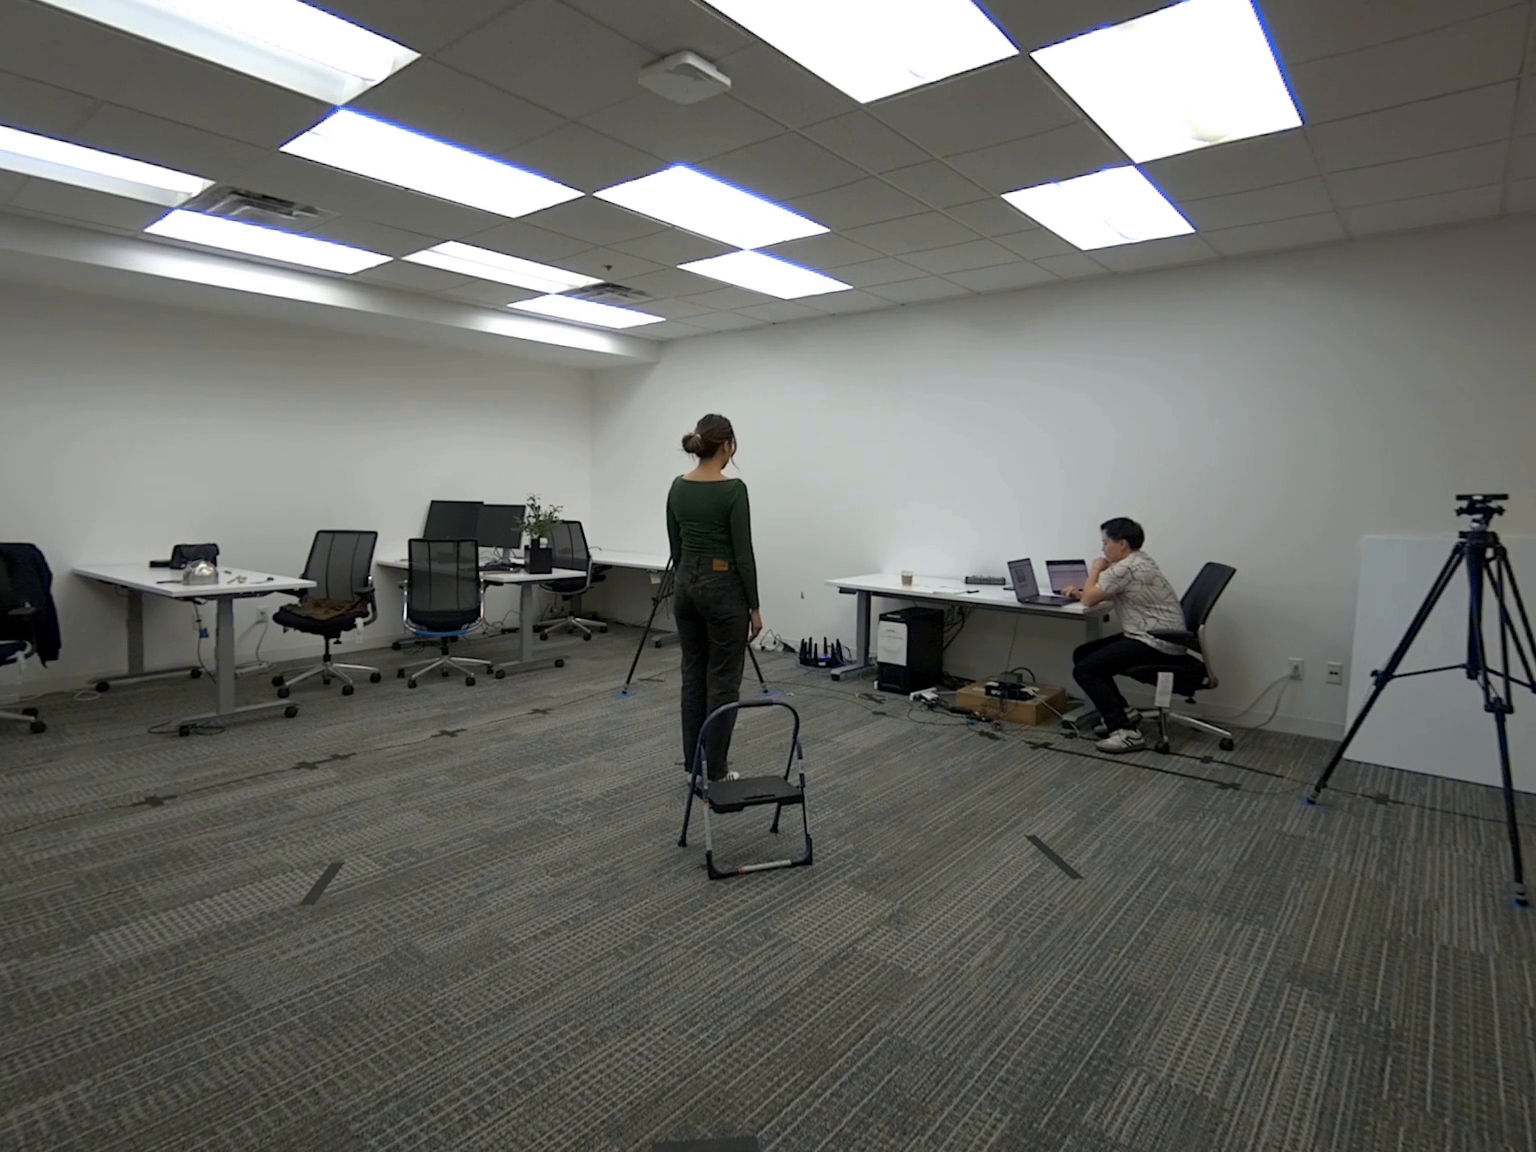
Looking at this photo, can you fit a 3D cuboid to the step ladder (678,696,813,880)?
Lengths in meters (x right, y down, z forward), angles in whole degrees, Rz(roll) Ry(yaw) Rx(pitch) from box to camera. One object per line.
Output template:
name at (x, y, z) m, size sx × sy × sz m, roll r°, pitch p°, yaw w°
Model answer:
step ladder at (-0.094, 0.752, 3.228) m, size 0.421 × 0.604 × 0.358 m, roll -1°, pitch 3°, yaw -23°
